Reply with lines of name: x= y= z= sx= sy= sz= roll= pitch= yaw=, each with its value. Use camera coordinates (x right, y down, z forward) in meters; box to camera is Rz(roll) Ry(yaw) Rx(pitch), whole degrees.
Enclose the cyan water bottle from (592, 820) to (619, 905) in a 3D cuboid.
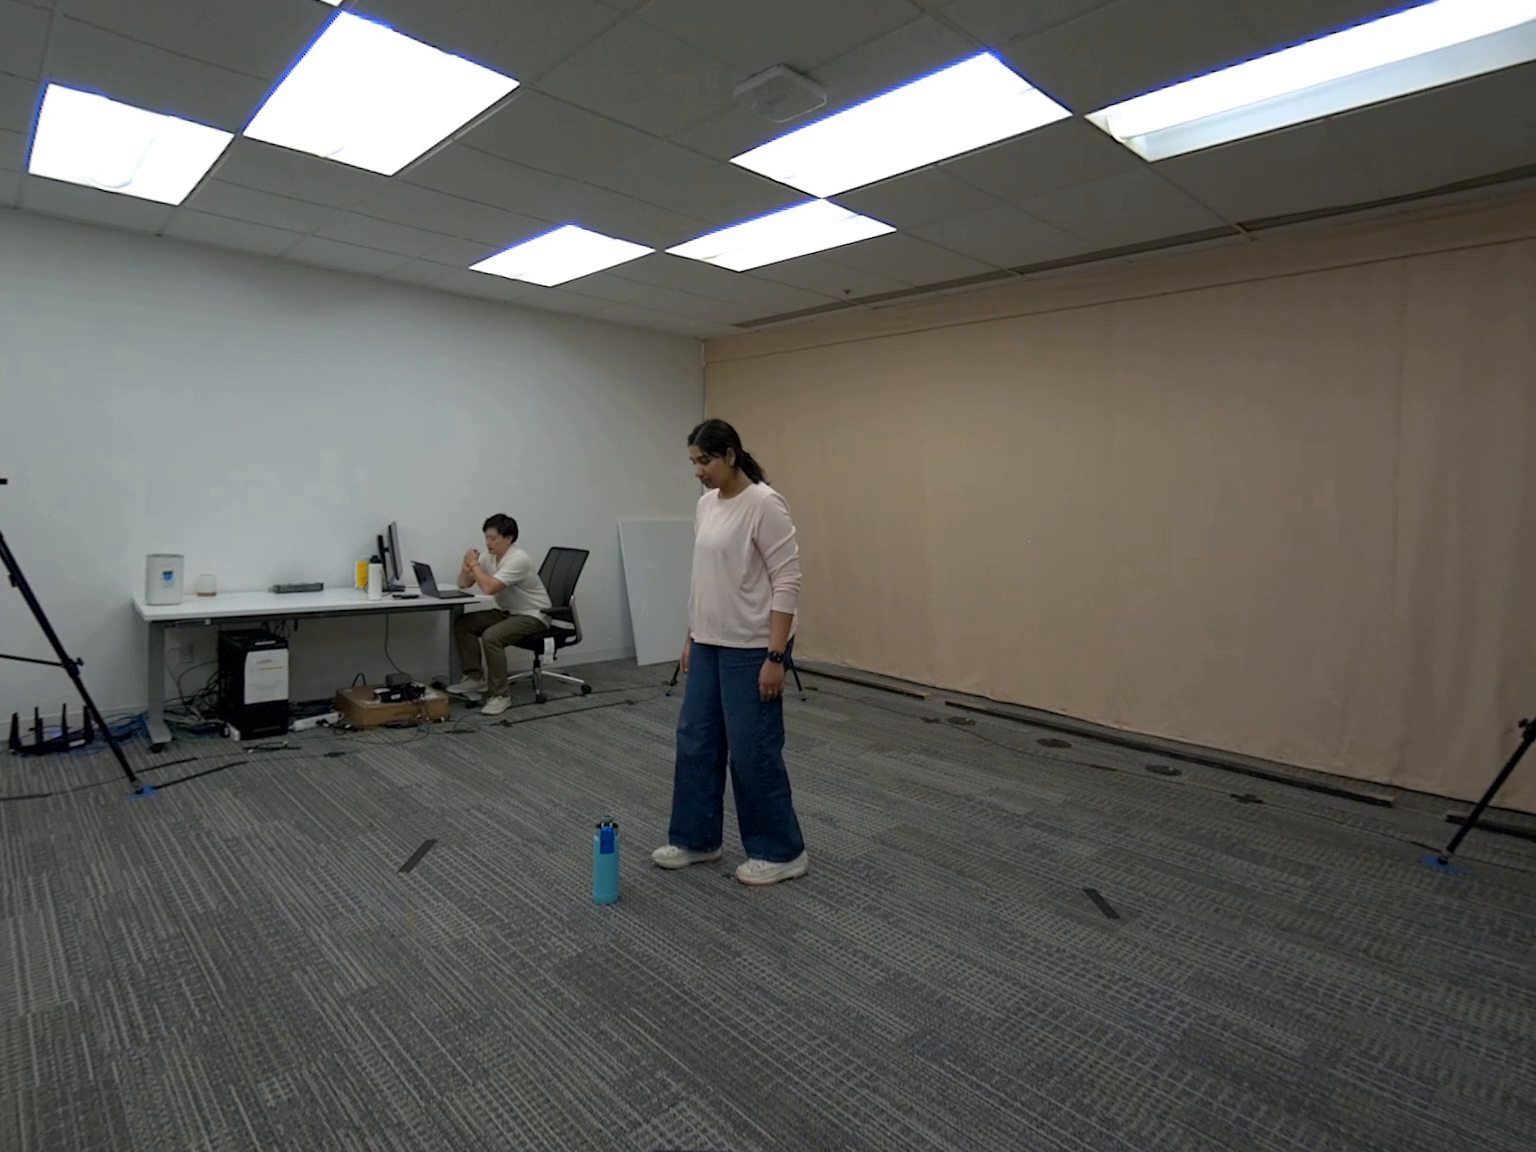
cyan water bottle: x=-0.565 y=0.979 z=2.895 sx=0.092 sy=0.282 sz=0.093 roll=2 pitch=5 yaw=-2
